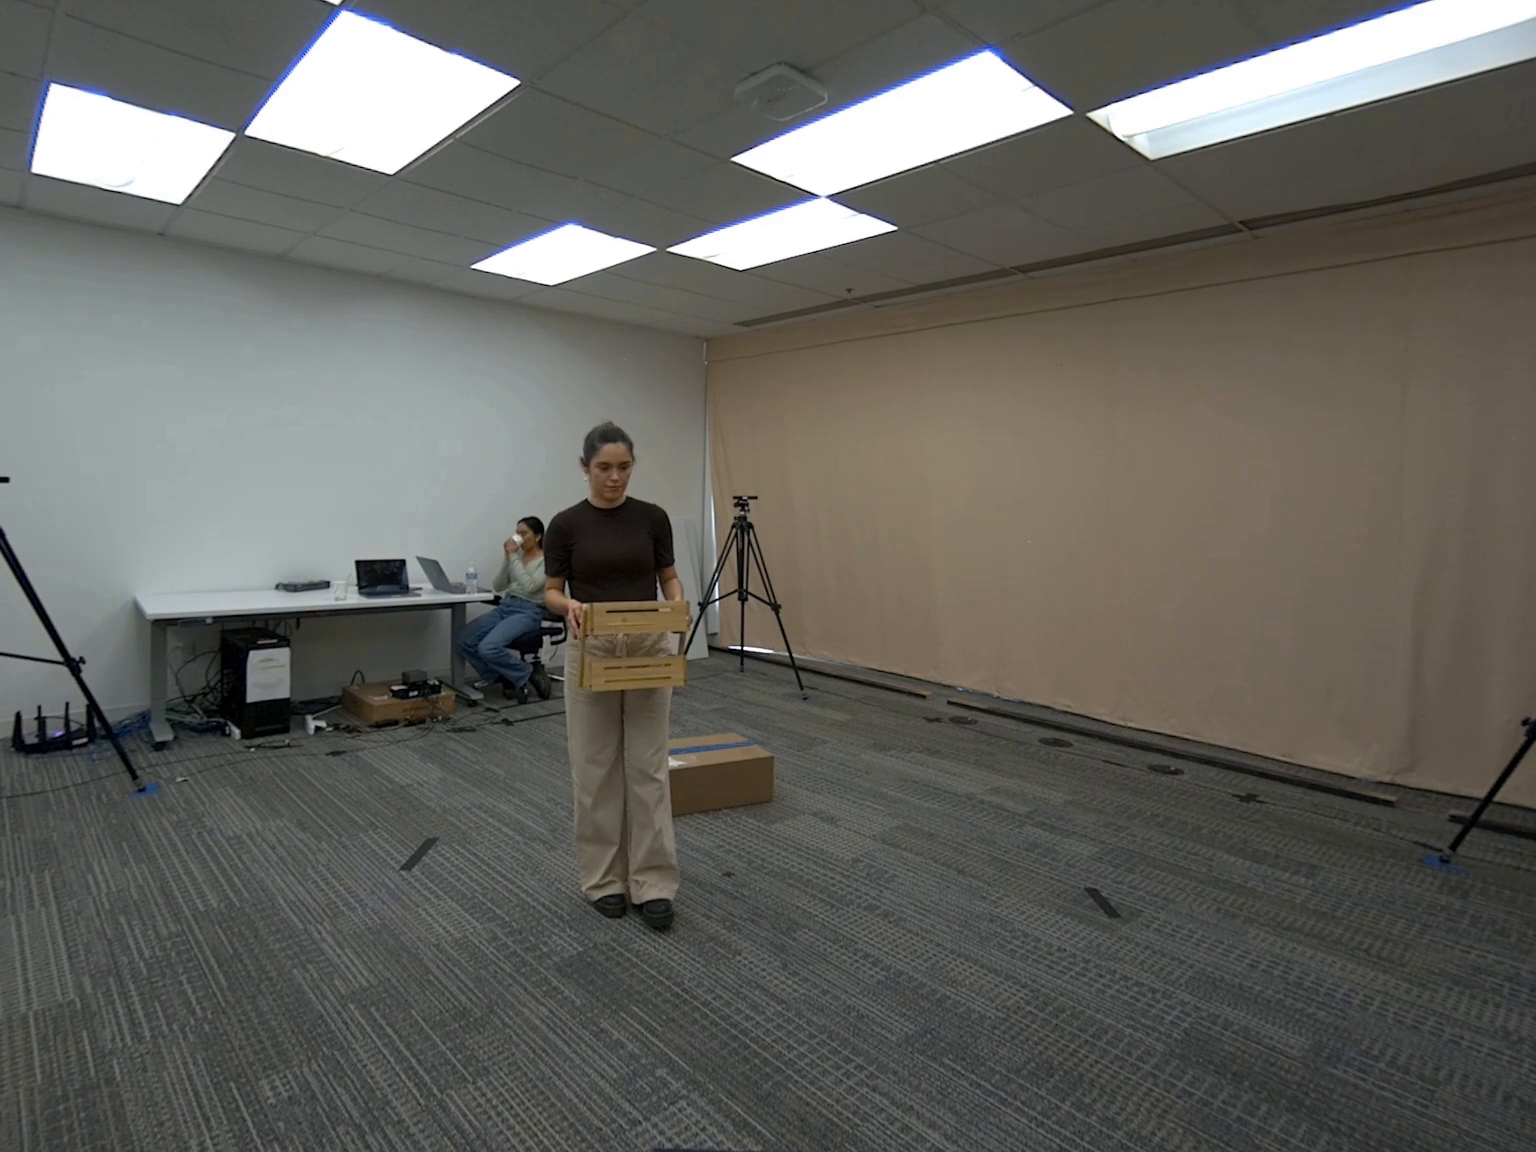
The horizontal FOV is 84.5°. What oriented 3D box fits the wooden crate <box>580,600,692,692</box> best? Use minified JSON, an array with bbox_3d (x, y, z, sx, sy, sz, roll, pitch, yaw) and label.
[{"bbox_3d":[-0.434,0.216,2.615,0.320,0.274,0.305,-1,-4,-20],"label":"wooden crate"}]
